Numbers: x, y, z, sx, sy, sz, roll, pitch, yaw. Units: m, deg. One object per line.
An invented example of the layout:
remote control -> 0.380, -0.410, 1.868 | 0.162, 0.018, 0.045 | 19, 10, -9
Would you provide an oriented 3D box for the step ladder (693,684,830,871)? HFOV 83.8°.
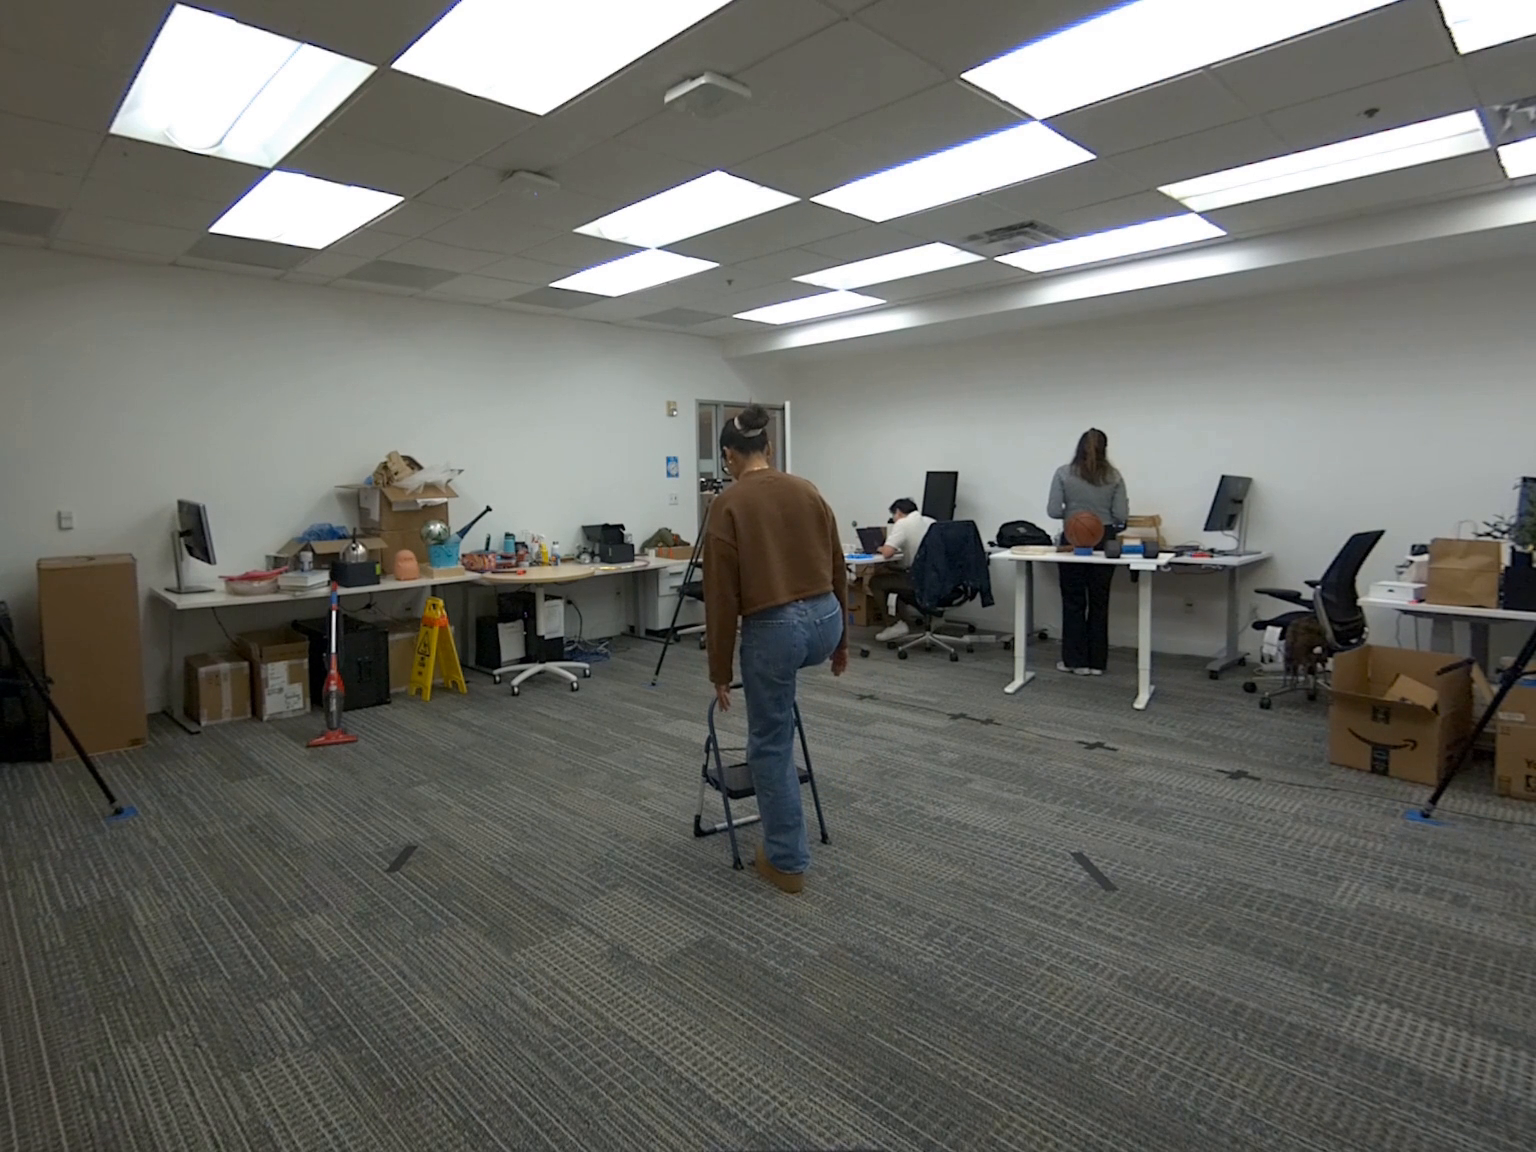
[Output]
step ladder -> -0.030, 0.719, 3.290 | 0.420, 0.604, 0.359 | -4, 5, -33
